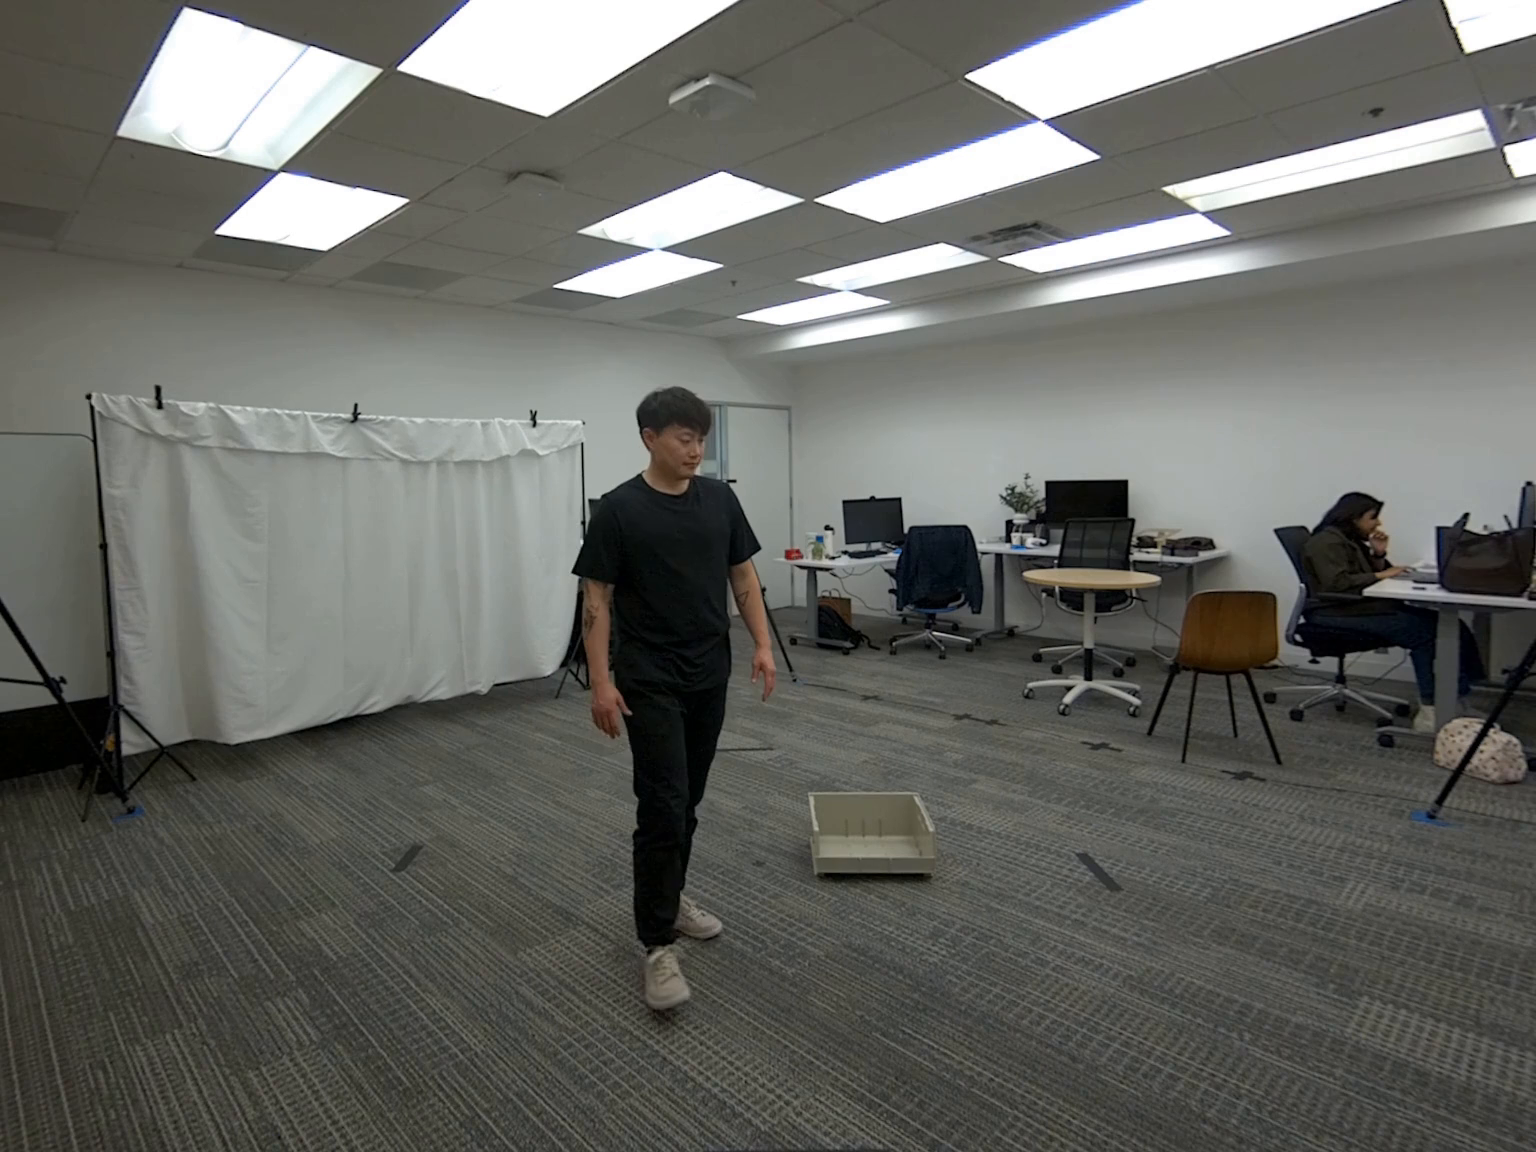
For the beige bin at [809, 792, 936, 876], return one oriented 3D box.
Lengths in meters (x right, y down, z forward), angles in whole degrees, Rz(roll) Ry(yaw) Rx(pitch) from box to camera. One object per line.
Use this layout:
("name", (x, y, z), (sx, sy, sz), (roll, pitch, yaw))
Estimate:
("beige bin", (0.373, 0.949, 3.124), (0.423, 0.188, 0.378), (-2, 5, 1))
